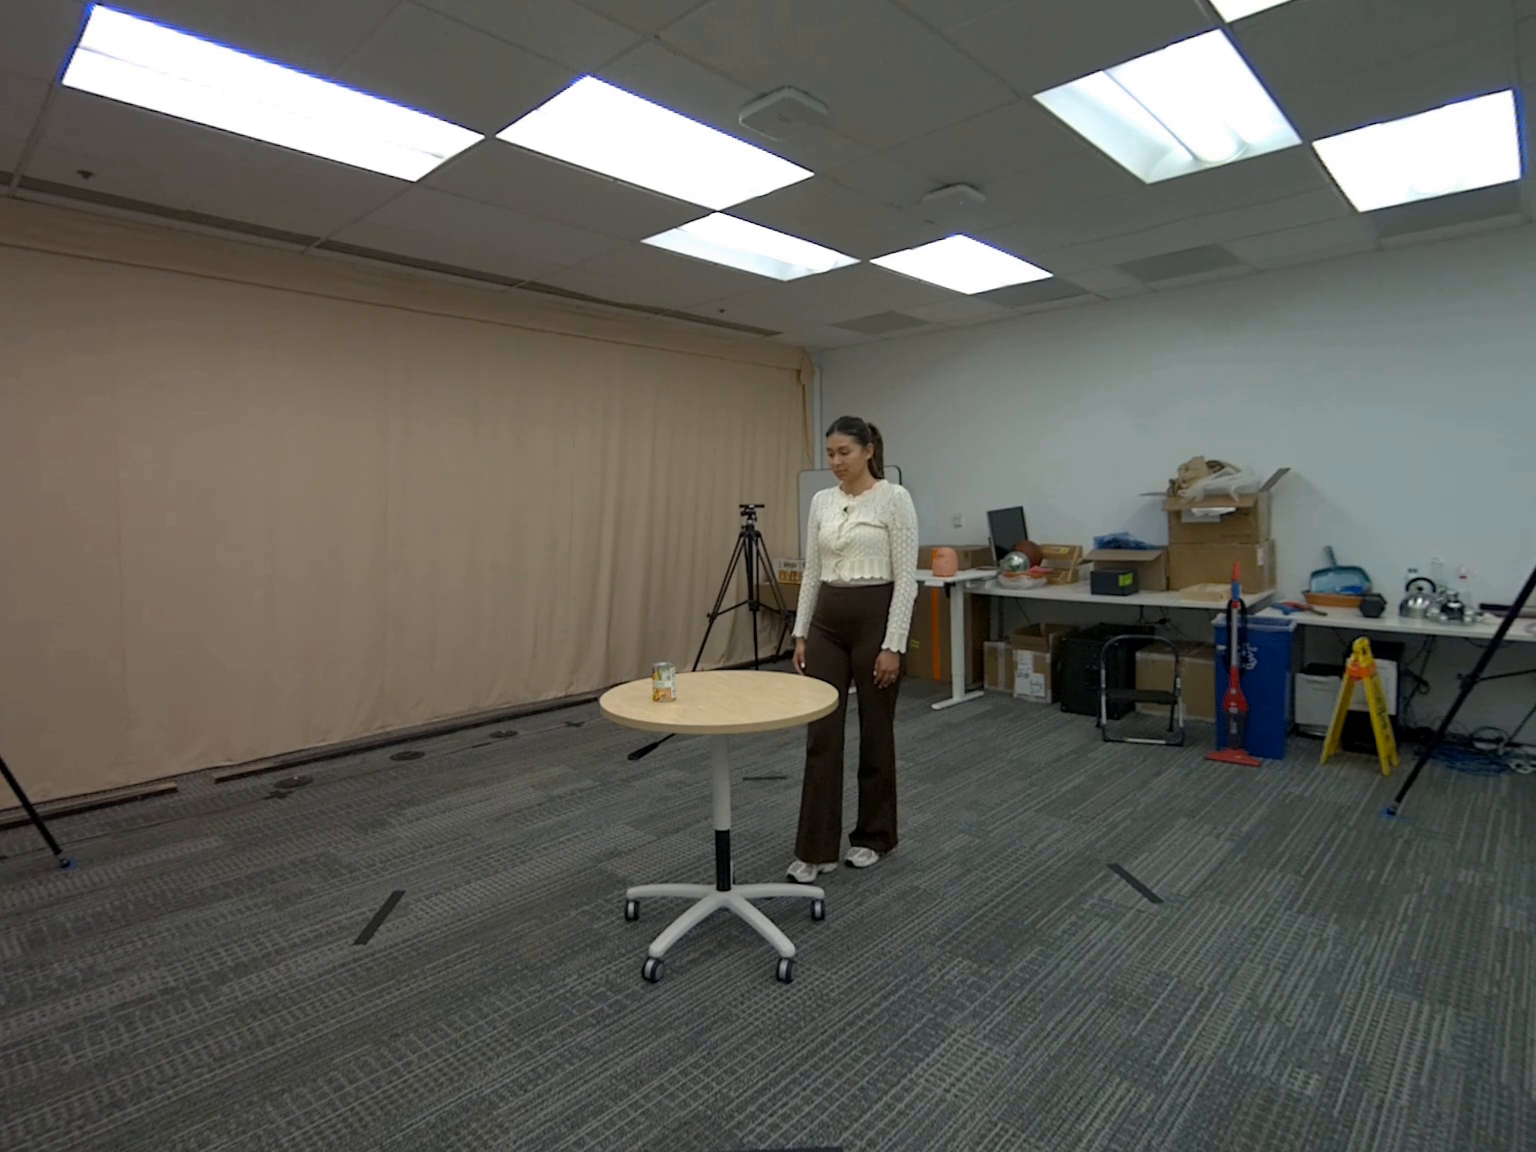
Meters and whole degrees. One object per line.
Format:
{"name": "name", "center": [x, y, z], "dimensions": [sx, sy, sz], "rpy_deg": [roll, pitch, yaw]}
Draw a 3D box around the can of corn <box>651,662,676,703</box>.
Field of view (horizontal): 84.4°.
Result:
{"name": "can of corn", "center": [-0.327, 0.339, 2.649], "dimensions": [0.074, 0.111, 0.074], "rpy_deg": [-2, 5, -2]}
